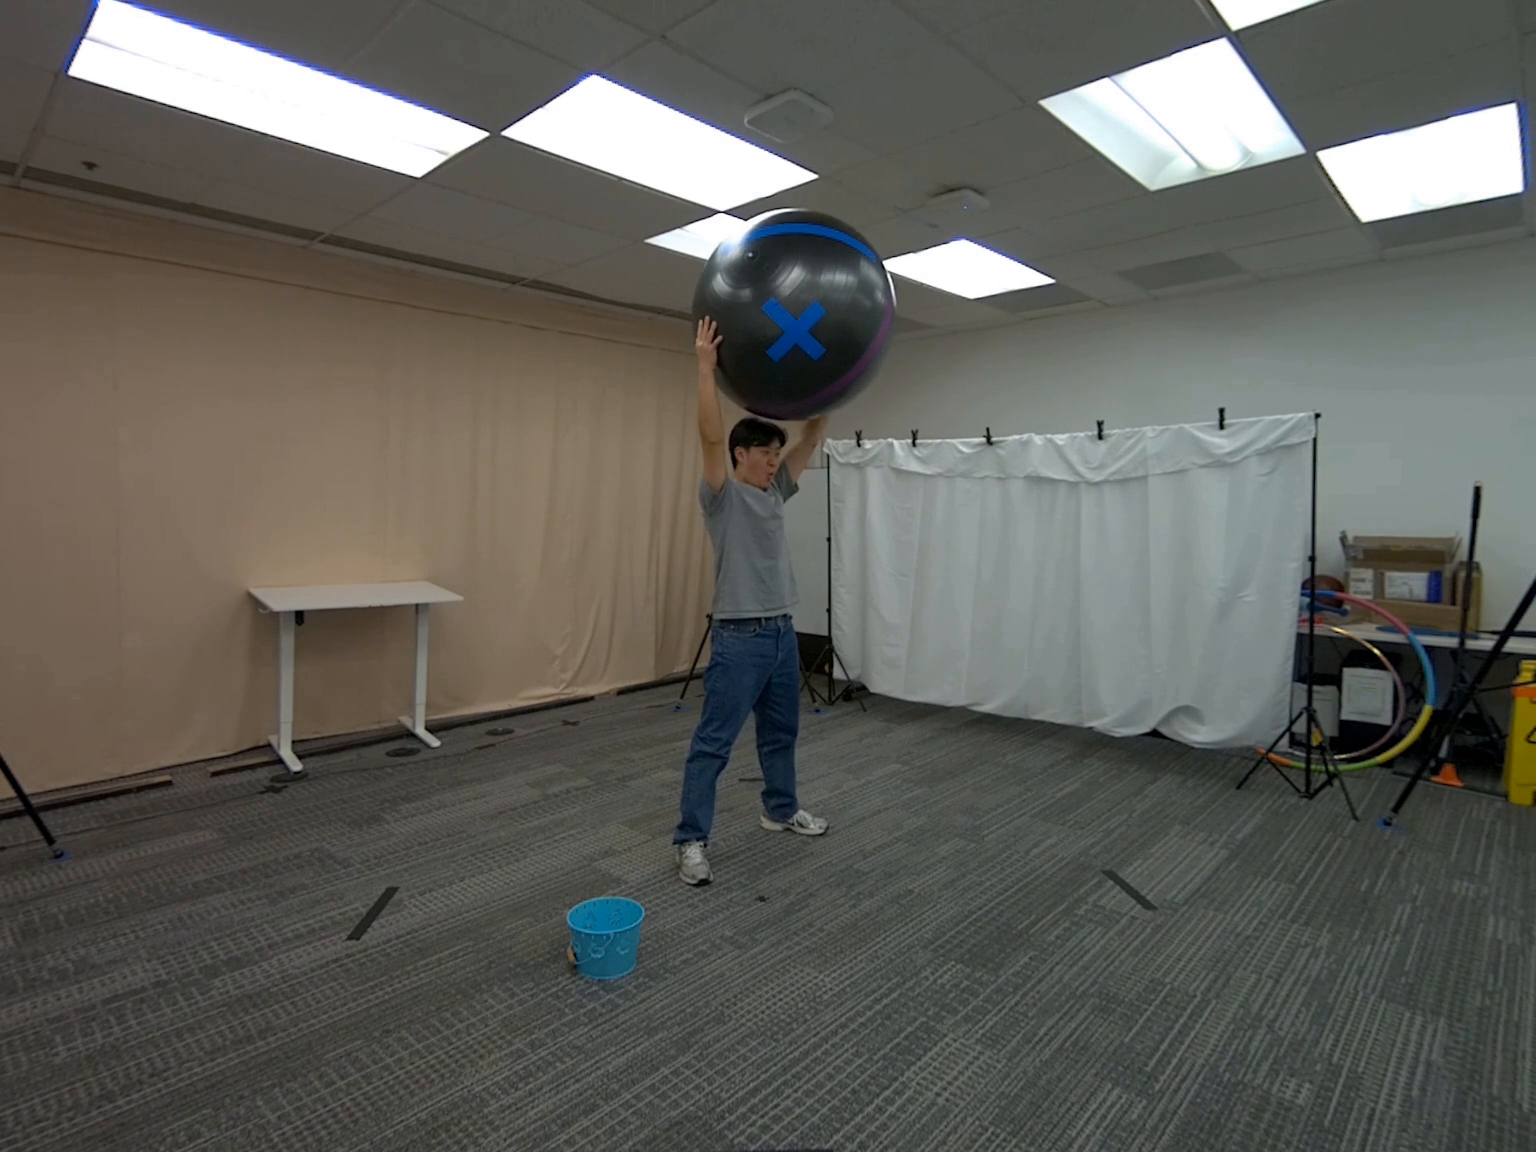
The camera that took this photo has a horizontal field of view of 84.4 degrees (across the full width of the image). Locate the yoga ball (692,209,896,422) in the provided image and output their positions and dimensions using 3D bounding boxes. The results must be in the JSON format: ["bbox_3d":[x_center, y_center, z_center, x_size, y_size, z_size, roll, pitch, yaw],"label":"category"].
[{"bbox_3d":[0.104,-0.945,3.138,0.757,0.756,0.760,0,4,-2],"label":"yoga ball"}]
